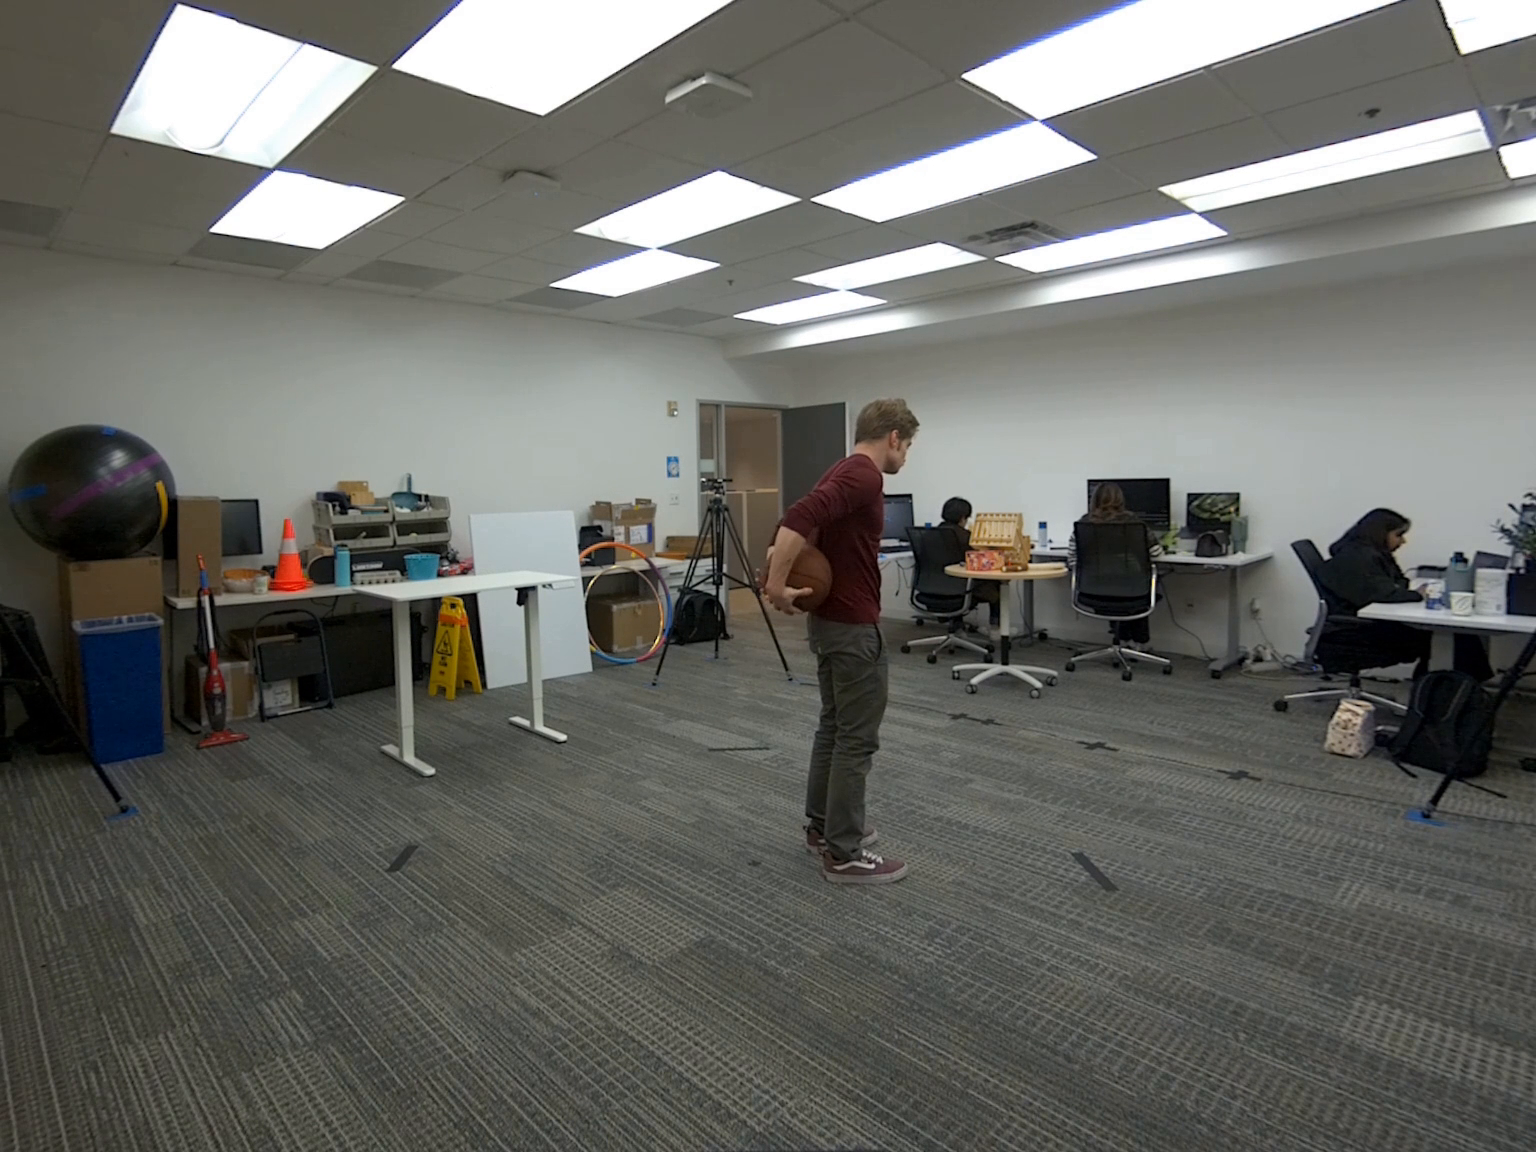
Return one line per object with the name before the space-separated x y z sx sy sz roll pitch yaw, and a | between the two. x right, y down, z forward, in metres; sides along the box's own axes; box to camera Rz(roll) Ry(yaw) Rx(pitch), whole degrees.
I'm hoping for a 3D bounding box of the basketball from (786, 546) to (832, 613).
basketball | 0.109 0.005 2.921 0.236 0.235 0.237 -1 5 -2
